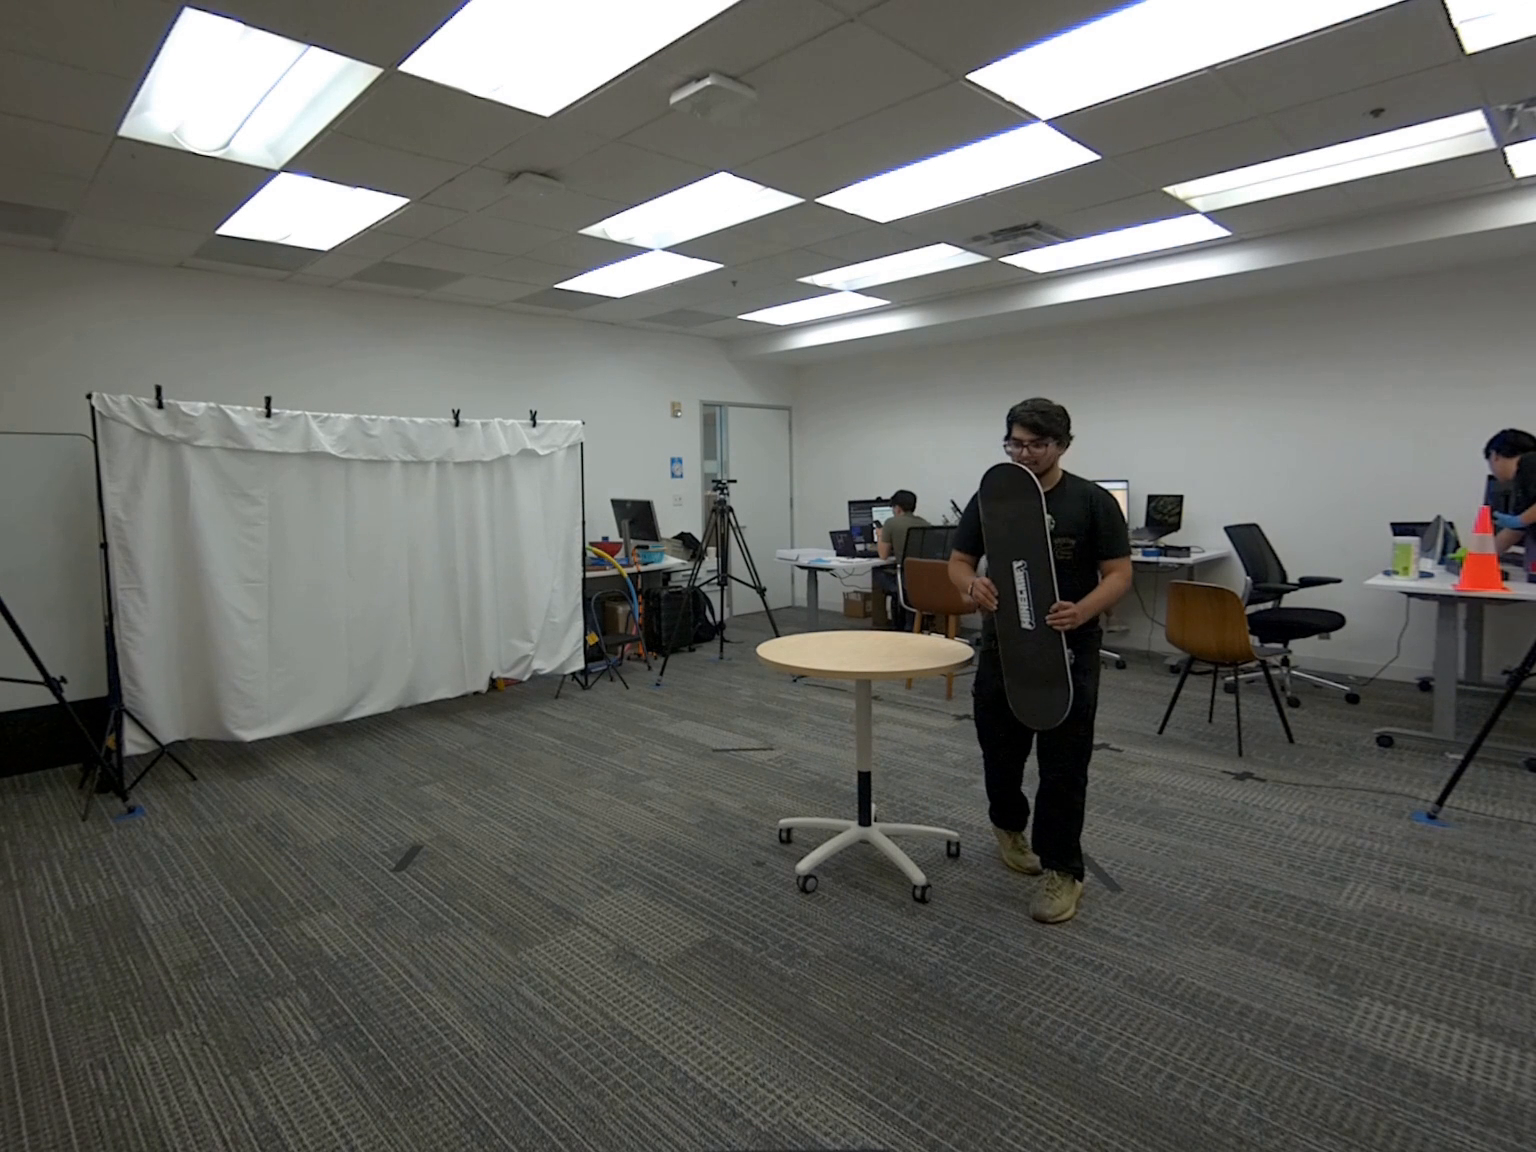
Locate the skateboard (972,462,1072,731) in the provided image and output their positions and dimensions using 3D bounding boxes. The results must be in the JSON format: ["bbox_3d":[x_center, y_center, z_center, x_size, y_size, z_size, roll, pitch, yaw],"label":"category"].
[{"bbox_3d":[0.782,0.053,2.549,0.198,0.788,0.107,-11,-4,39],"label":"skateboard"}]
